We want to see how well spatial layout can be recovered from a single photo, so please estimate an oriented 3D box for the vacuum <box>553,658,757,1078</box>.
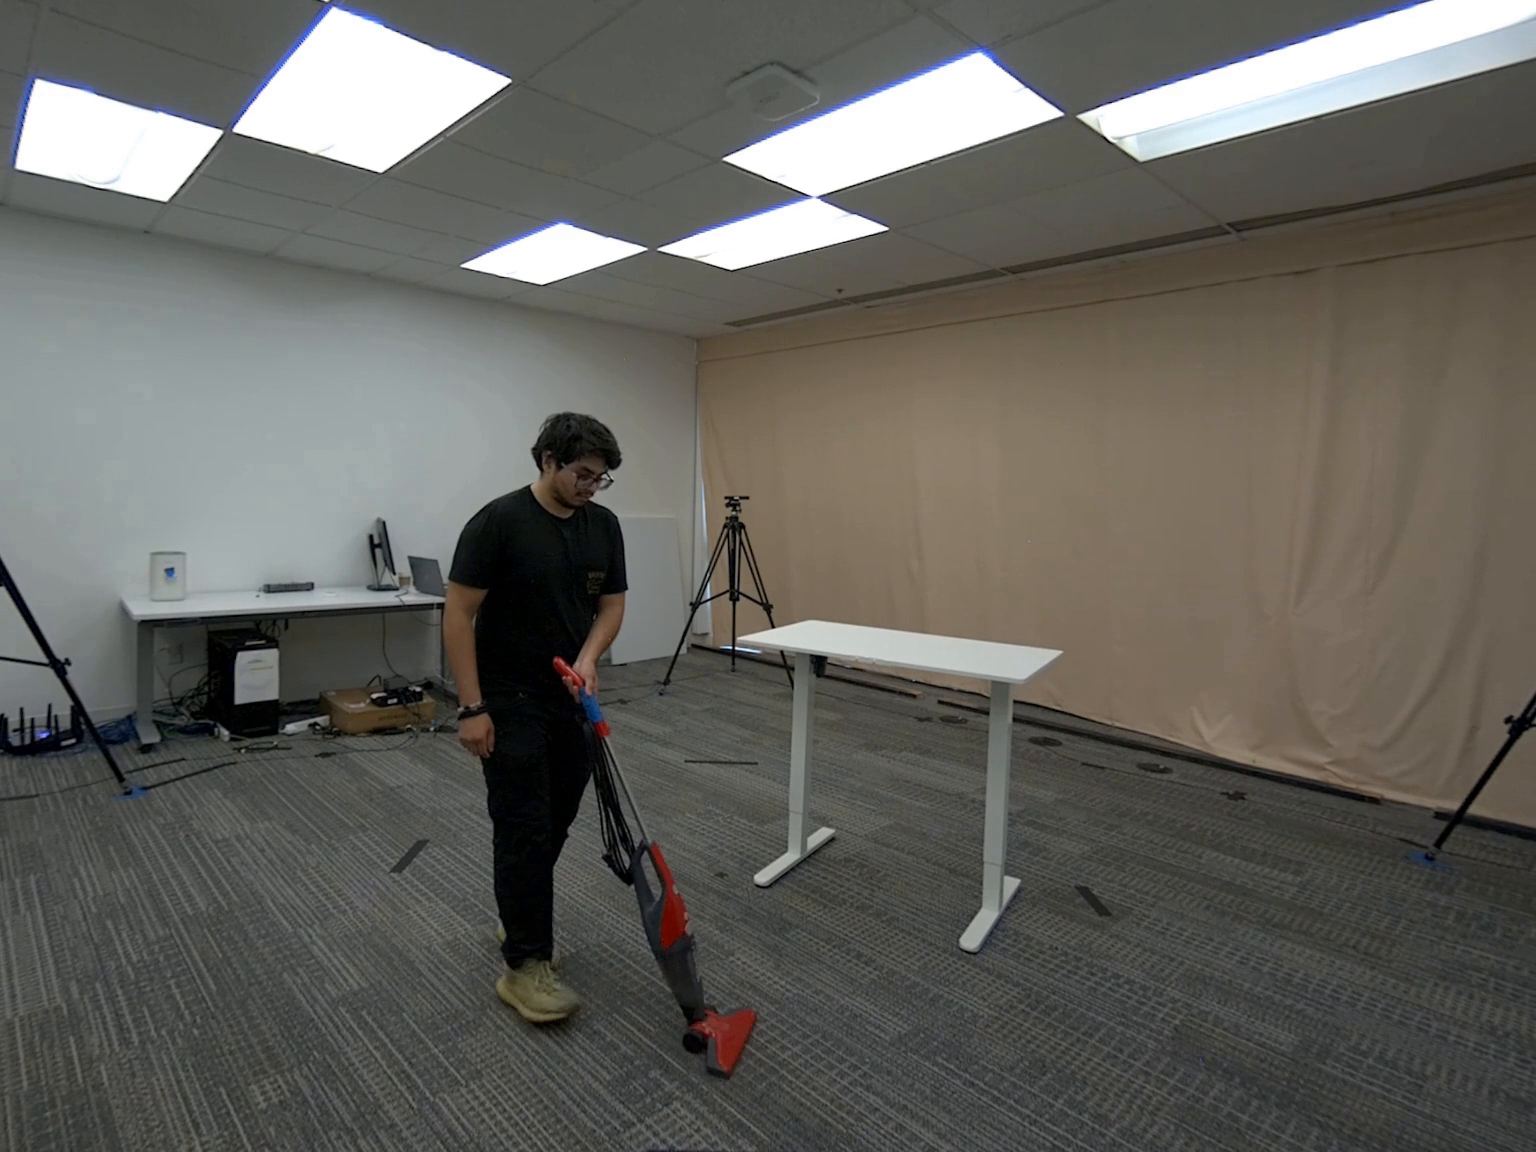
[{"bbox_3d":[-0.348,0.717,2.191,0.145,1.056,0.249,-28,-6,21],"label":"vacuum"}]
